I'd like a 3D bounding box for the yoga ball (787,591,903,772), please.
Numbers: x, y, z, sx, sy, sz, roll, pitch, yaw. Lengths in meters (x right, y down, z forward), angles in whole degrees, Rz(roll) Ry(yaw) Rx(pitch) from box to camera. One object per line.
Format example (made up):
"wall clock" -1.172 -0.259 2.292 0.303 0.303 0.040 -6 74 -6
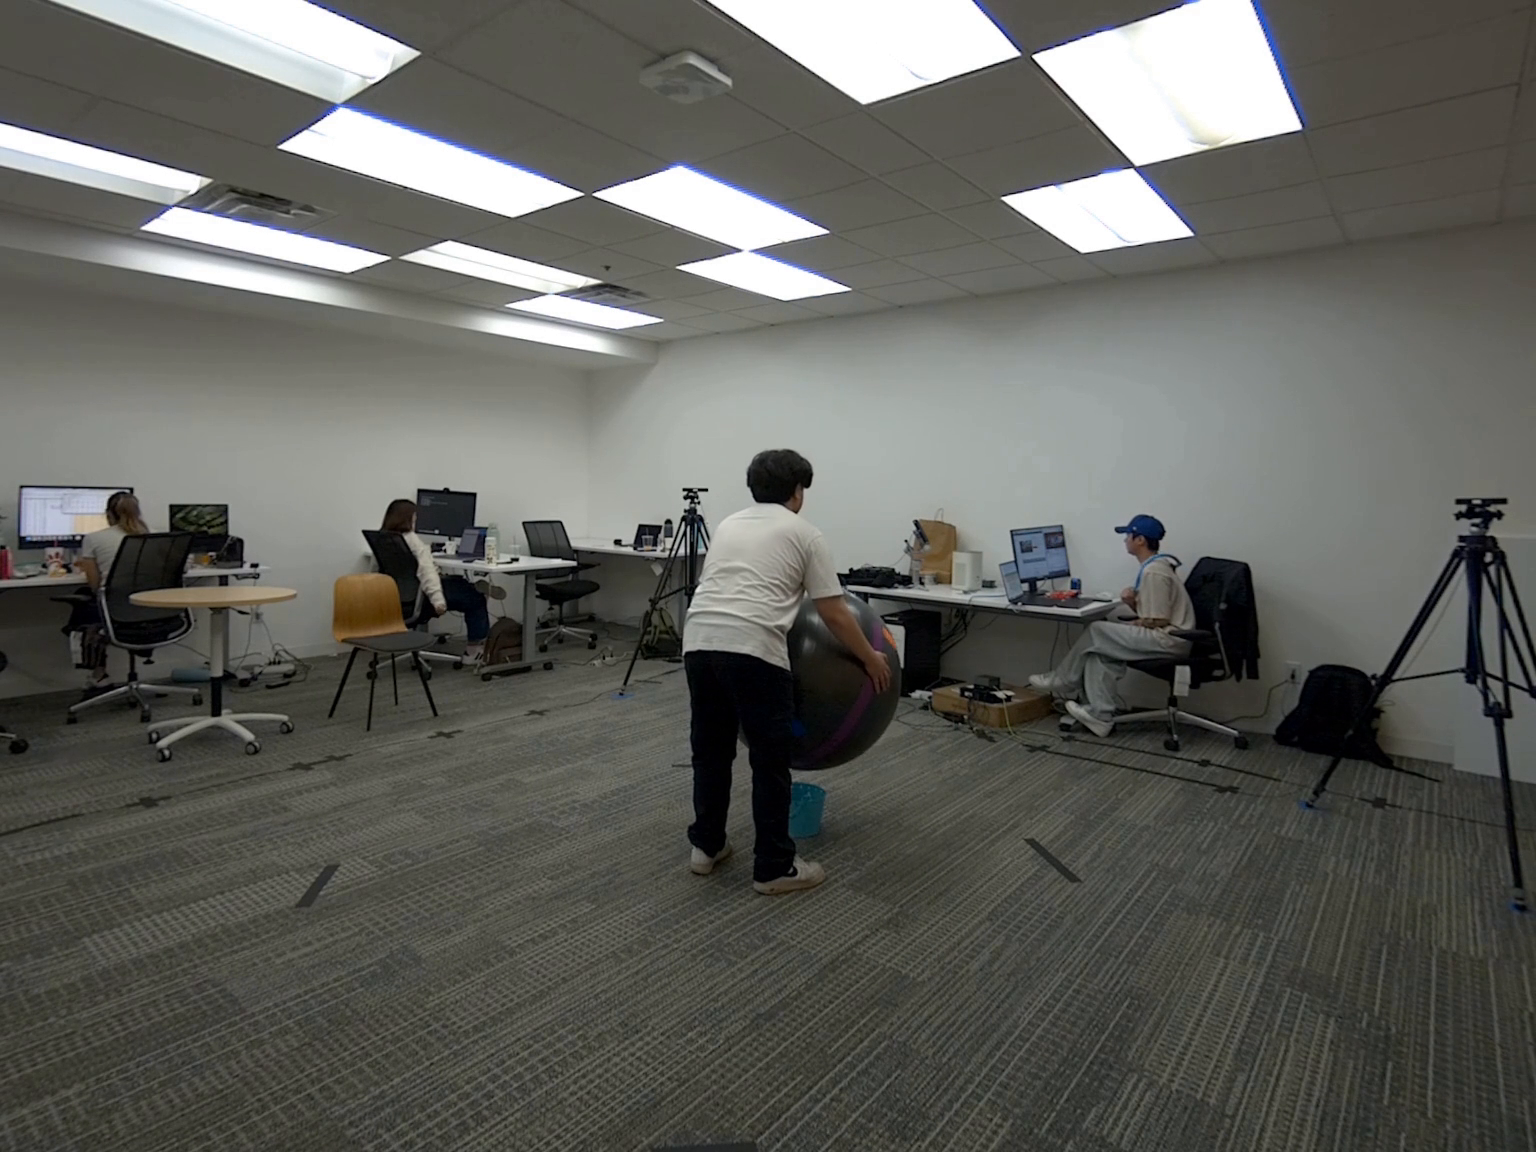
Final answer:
"yoga ball" 0.157 0.401 3.478 0.757 0.755 0.762 1 4 -2
